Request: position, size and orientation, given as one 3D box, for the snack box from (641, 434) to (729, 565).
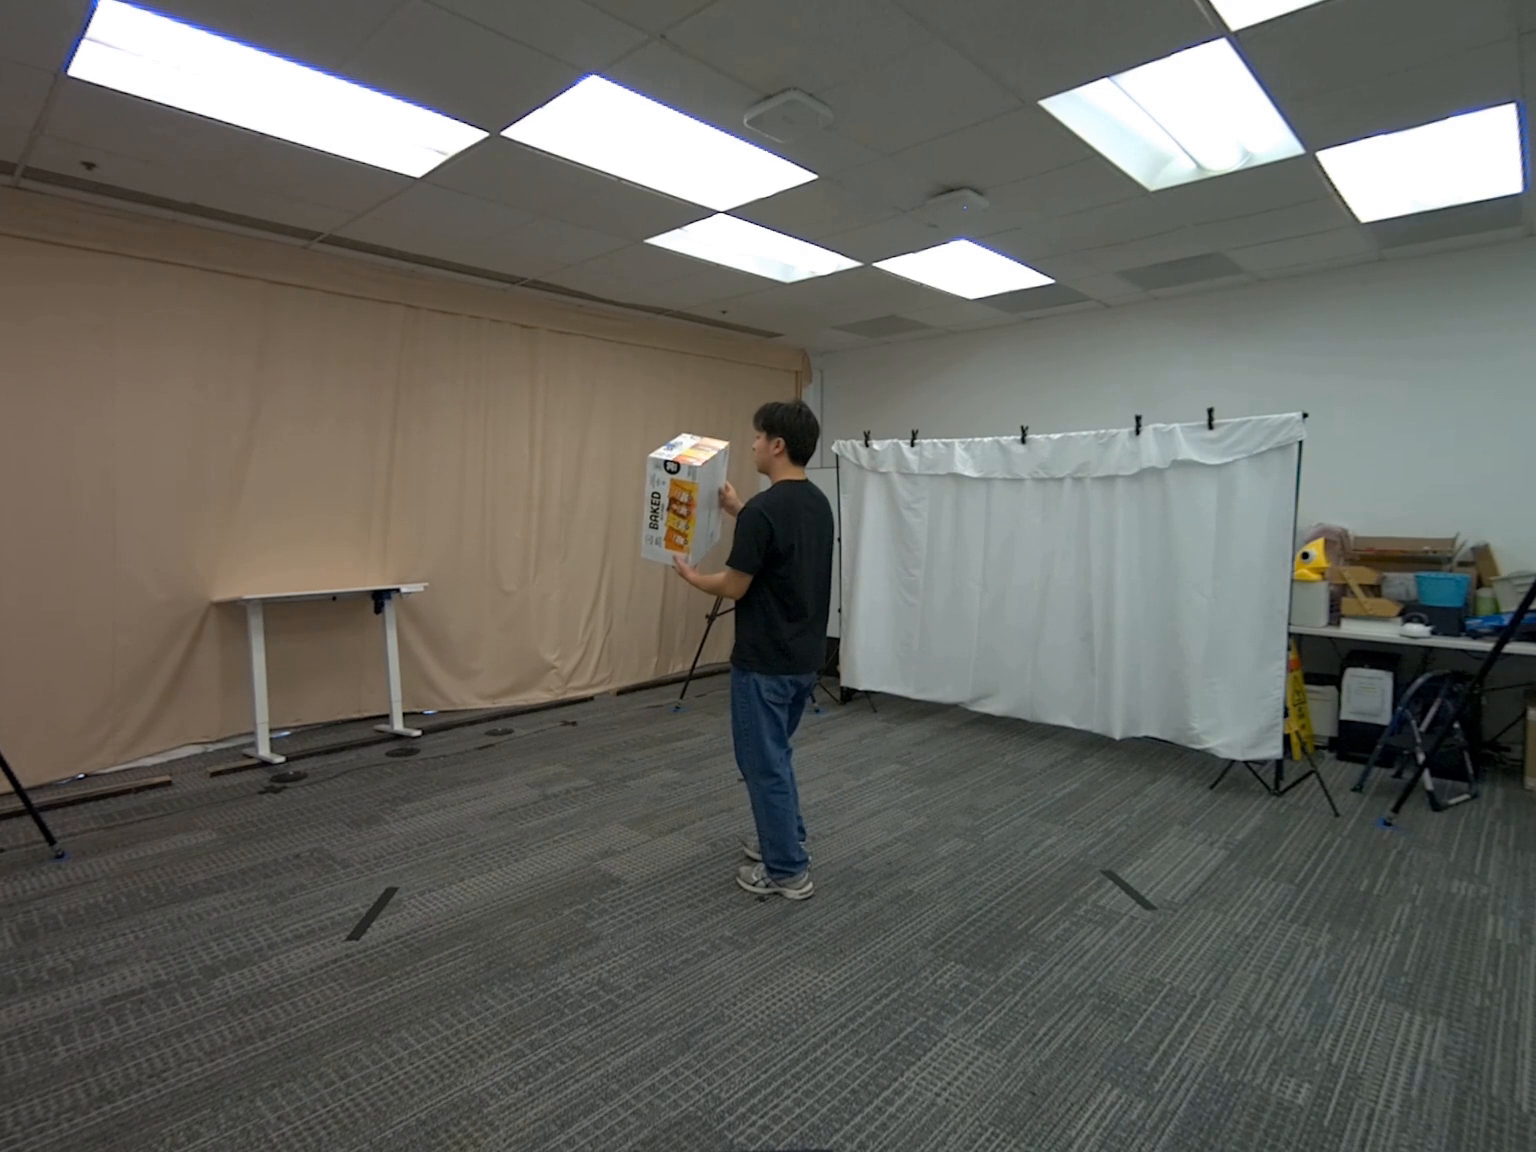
[{"bbox_3d":[-0.309,-0.289,3.198,0.209,0.401,0.338,13,24,13],"label":"snack box"}]
